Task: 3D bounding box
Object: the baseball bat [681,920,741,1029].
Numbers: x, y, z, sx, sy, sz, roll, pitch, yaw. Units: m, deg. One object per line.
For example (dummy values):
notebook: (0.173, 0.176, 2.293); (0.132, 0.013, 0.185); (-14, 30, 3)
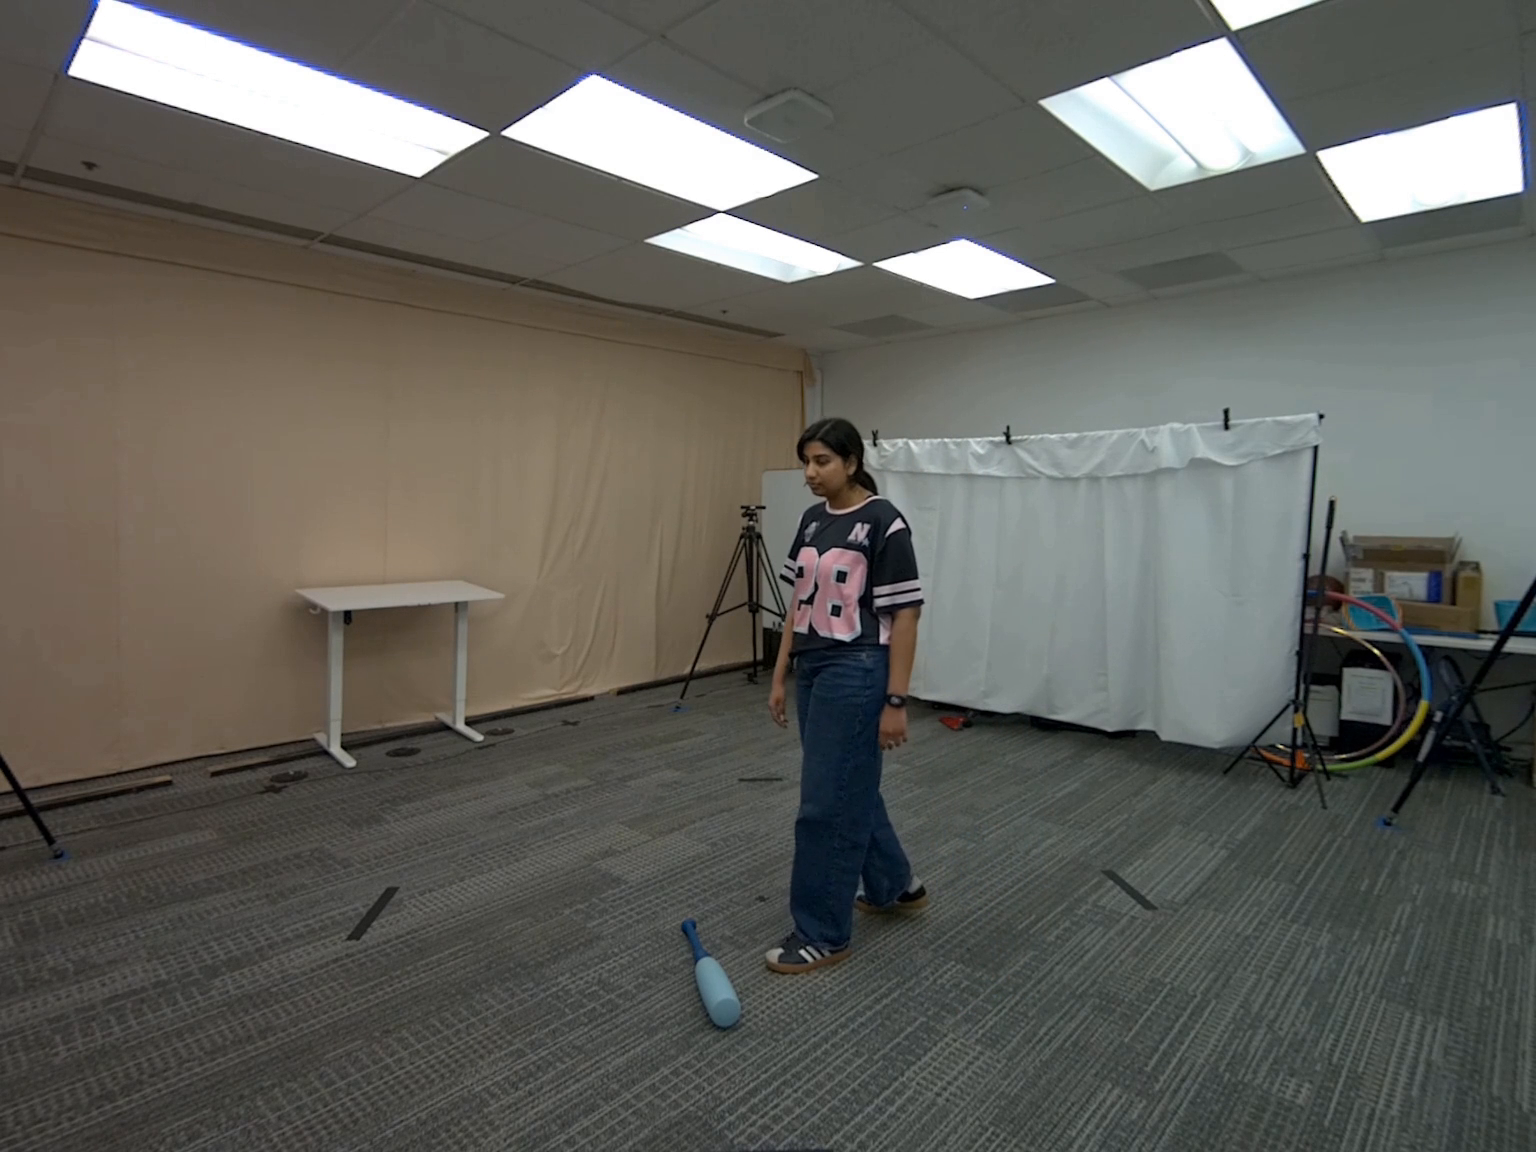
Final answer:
baseball bat: (-0.181, 1.150, 2.479); (0.088, 0.089, 0.551); (-1, 2, -16)
